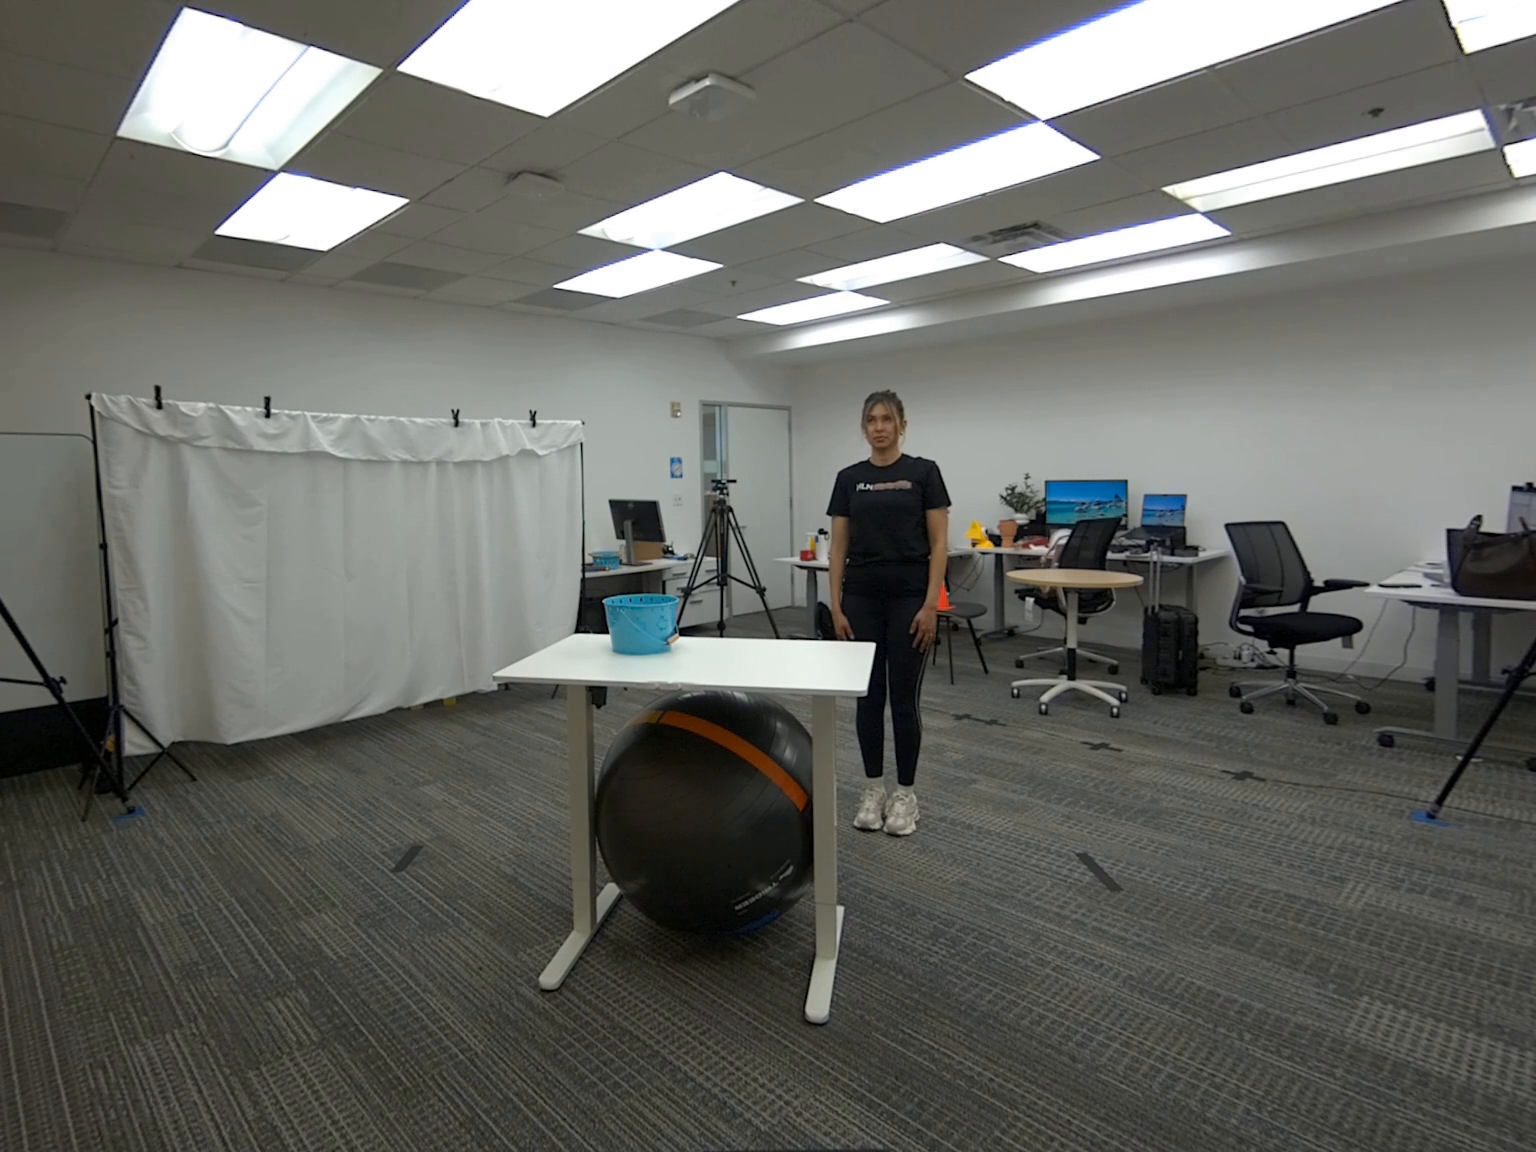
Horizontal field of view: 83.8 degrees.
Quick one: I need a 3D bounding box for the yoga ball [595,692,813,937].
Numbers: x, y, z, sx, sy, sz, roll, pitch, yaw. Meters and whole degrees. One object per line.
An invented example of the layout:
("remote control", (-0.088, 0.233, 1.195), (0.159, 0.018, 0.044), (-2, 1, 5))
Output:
("yoga ball", (-0.172, 0.748, 2.696), (0.757, 0.755, 0.762), (-1, 5, -2))
